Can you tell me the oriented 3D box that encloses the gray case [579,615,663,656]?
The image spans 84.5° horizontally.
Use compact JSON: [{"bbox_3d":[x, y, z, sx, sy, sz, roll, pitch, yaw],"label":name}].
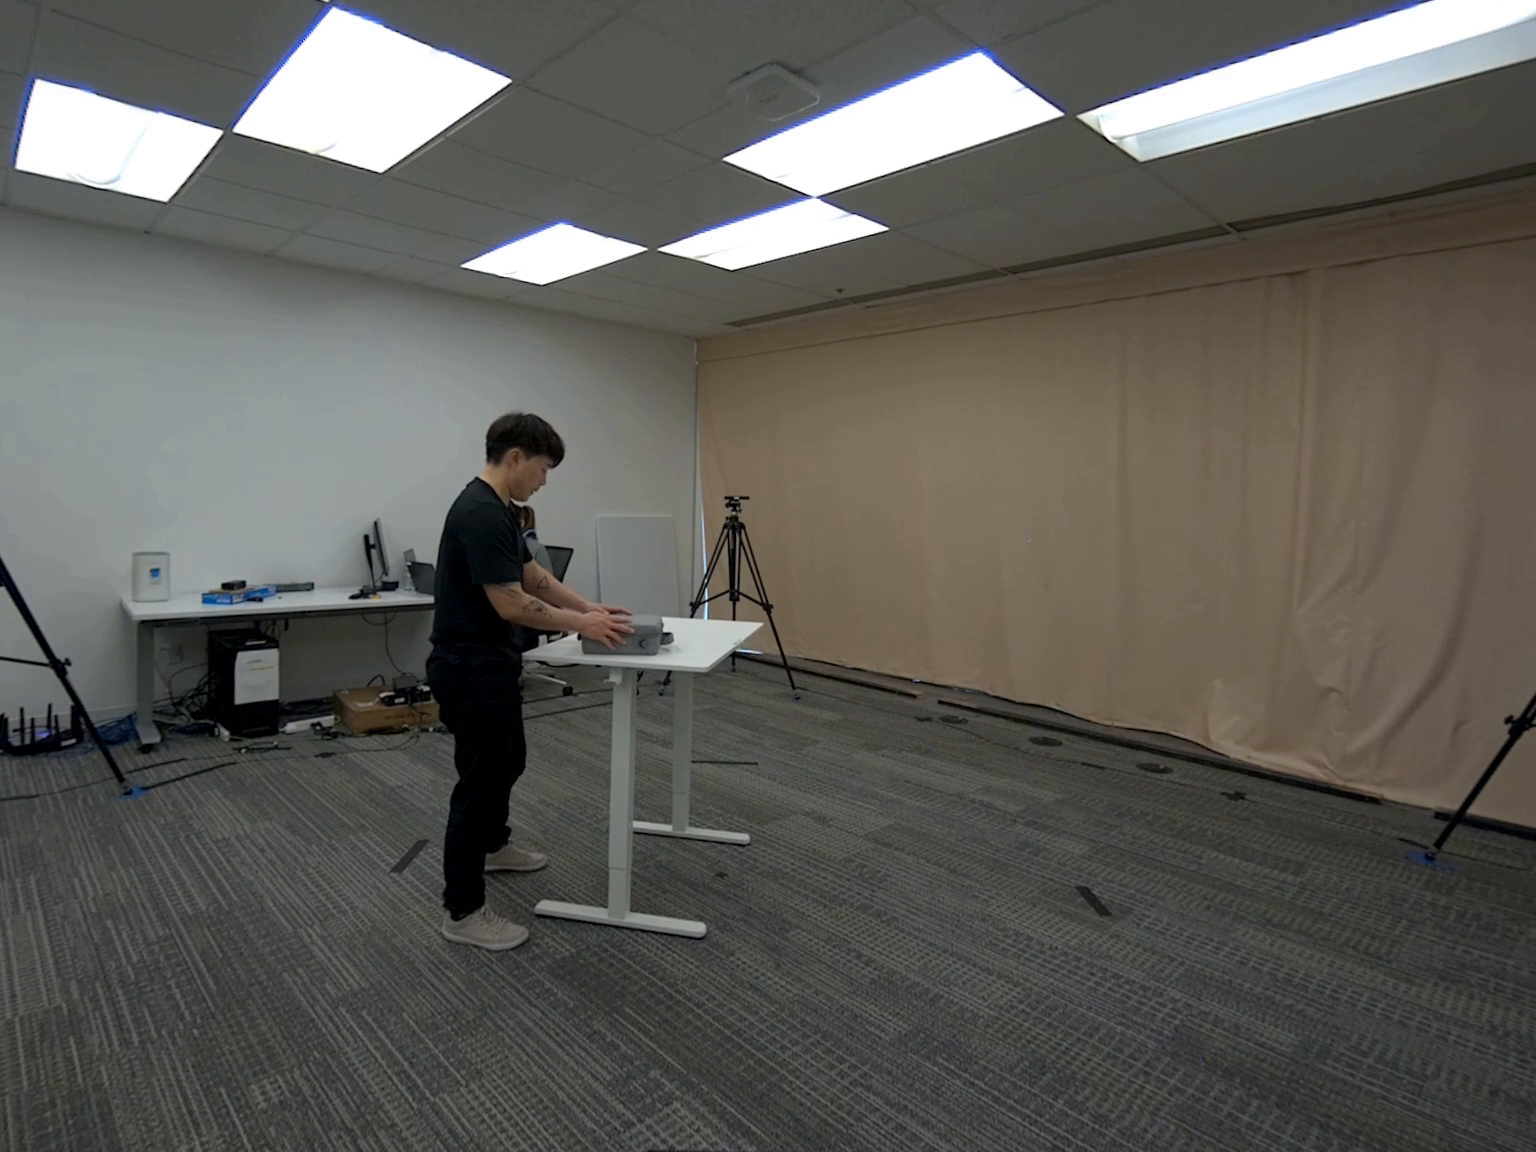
[{"bbox_3d":[-0.480,0.193,2.790,0.261,0.104,0.257,1,4,1],"label":"gray case"}]
